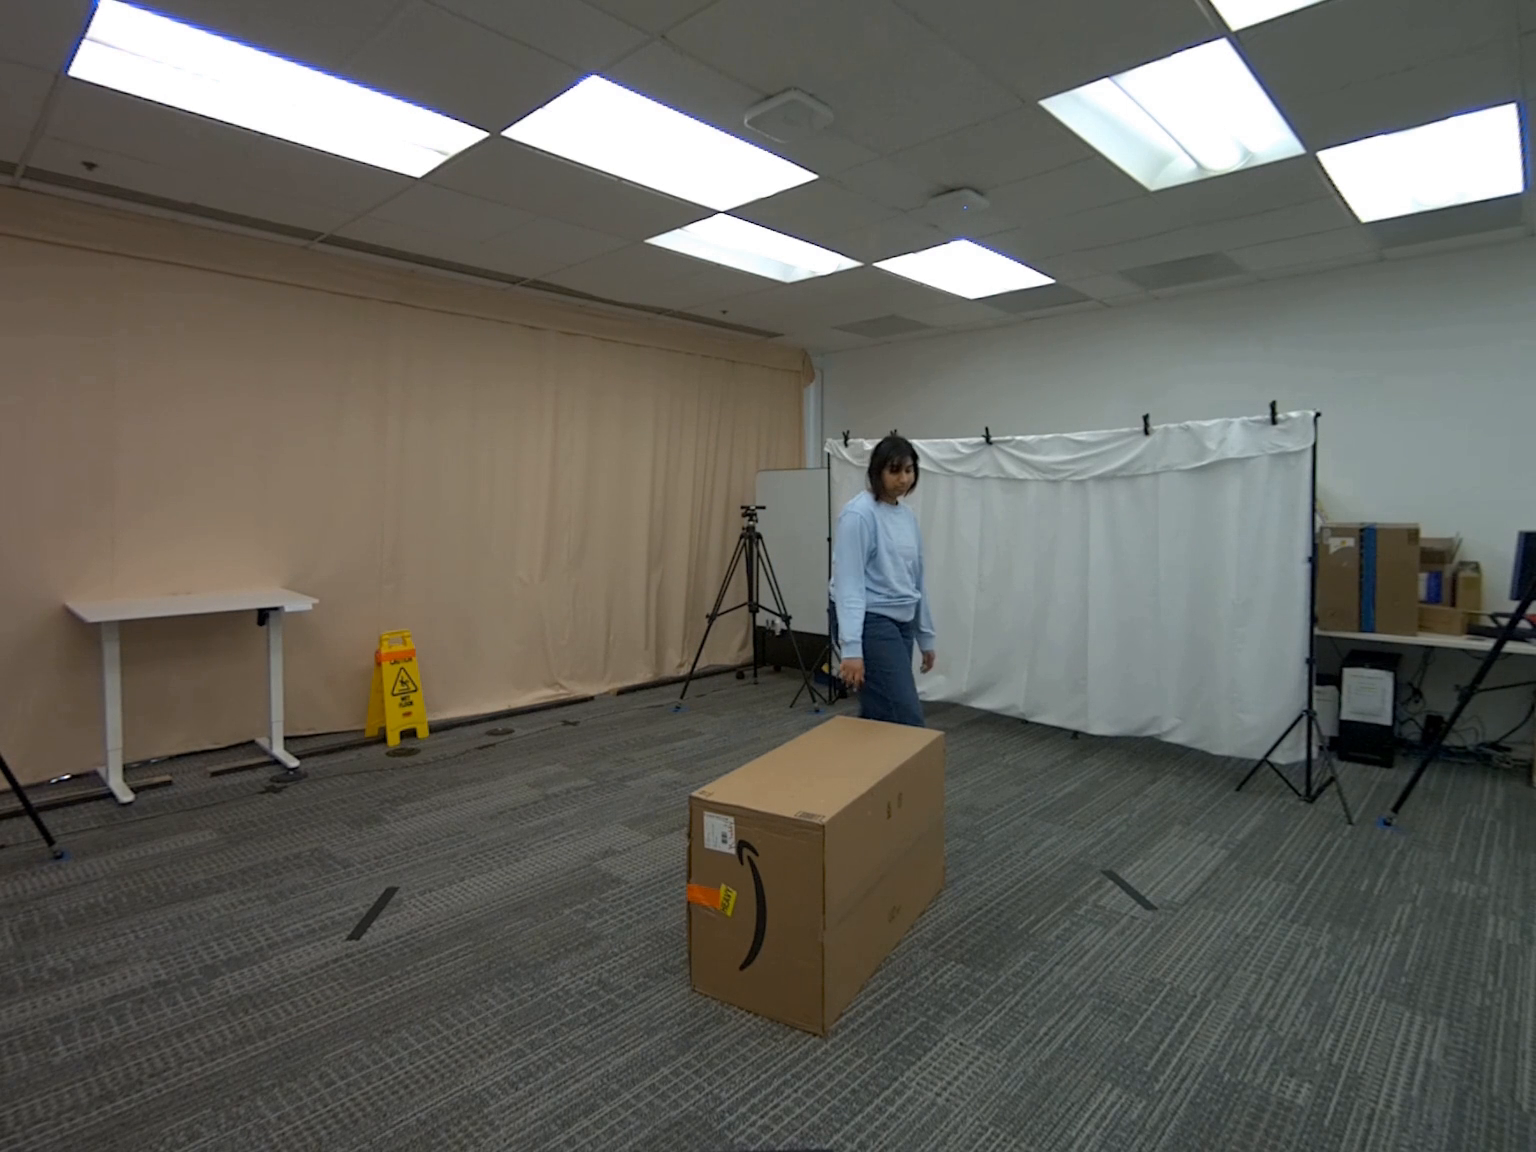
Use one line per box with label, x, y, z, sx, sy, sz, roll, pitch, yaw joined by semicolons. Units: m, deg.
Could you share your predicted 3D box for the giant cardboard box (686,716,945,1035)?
giant cardboard box;0.203;0.879;2.723;0.460;0.582;0.999;3;5;31
